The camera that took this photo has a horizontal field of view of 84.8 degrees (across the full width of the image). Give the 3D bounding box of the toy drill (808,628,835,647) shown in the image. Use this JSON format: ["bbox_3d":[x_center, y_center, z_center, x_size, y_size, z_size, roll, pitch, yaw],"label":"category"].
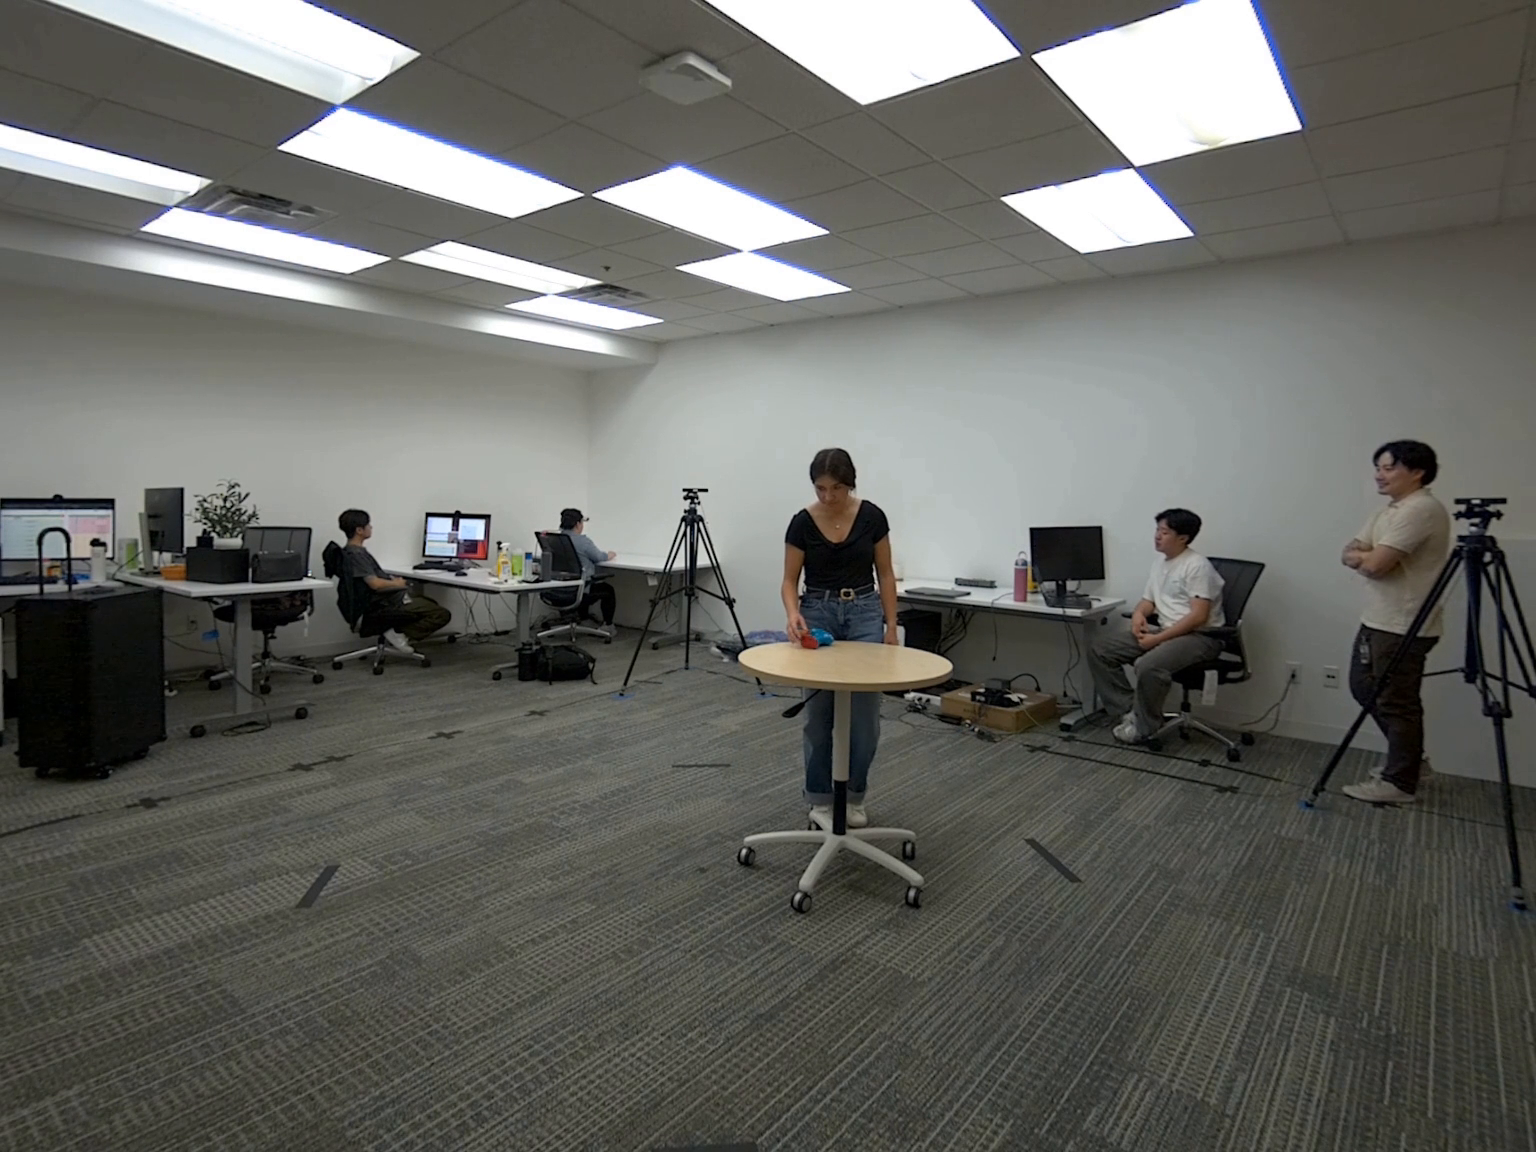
[{"bbox_3d":[0.161,0.234,3.359,0.176,0.061,0.142,16,13,34],"label":"toy drill"}]
